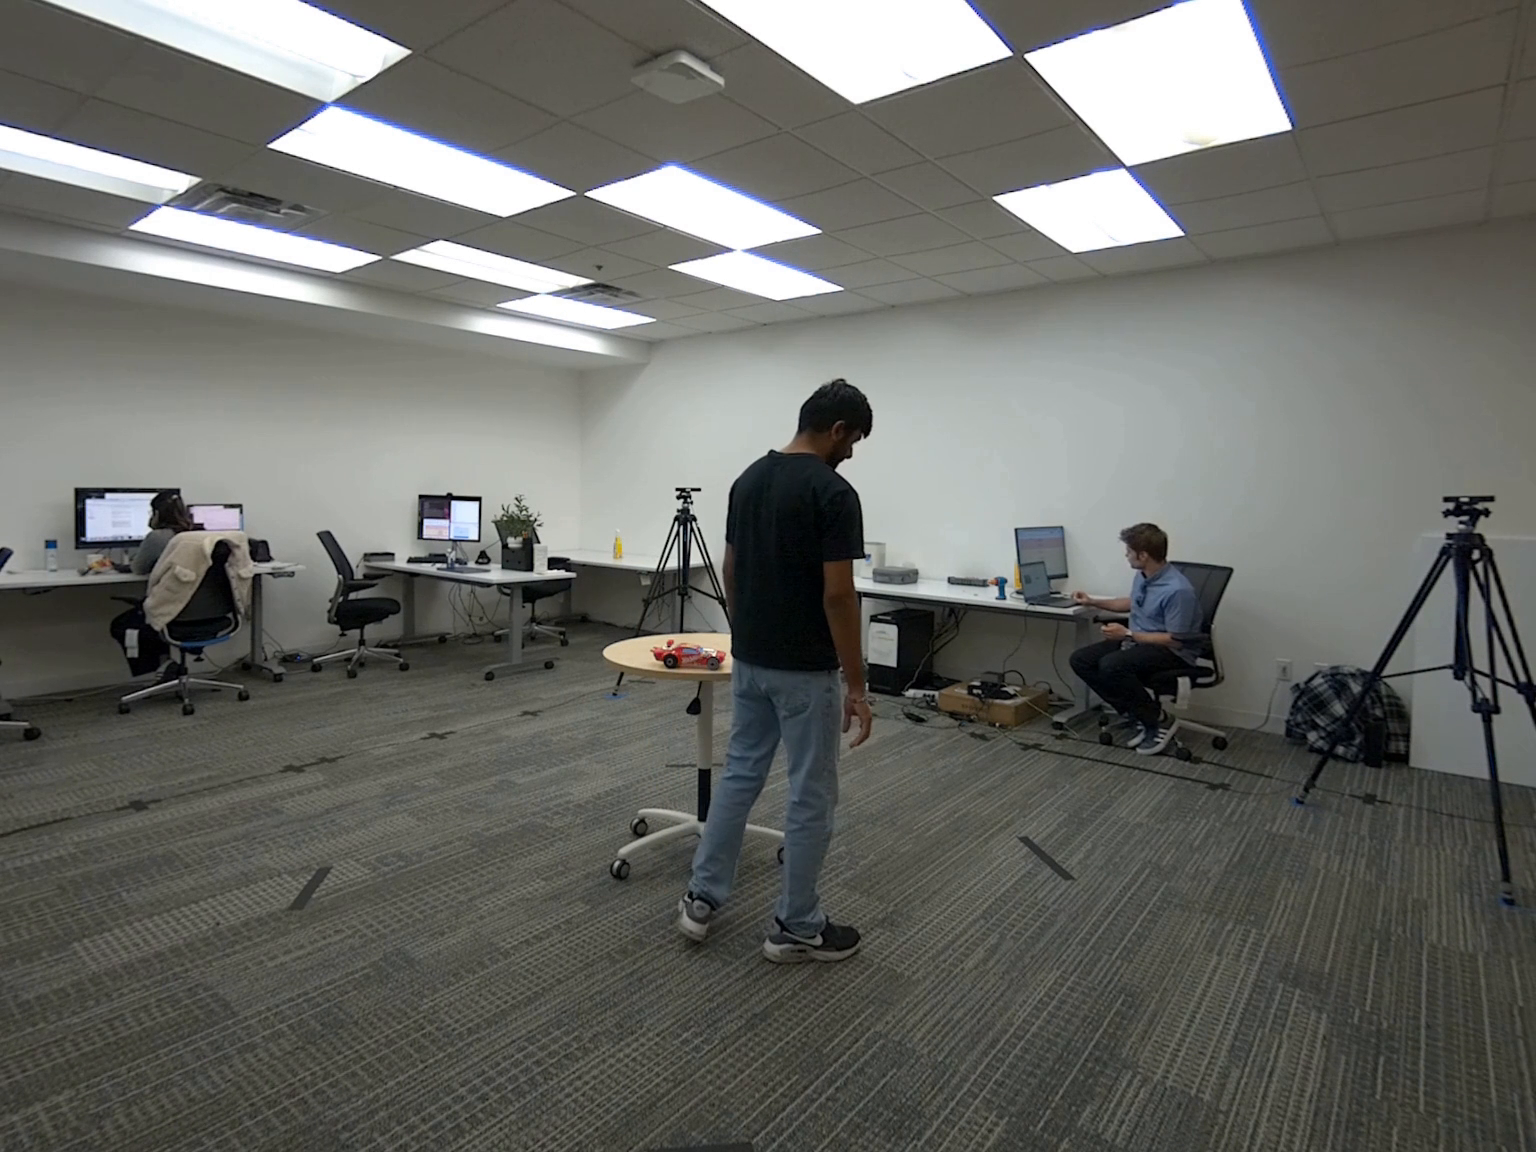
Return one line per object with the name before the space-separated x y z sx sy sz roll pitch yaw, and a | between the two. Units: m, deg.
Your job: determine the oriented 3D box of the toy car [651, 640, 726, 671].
toy car | -0.284 0.271 2.907 0.257 0.083 0.130 13 6 6
